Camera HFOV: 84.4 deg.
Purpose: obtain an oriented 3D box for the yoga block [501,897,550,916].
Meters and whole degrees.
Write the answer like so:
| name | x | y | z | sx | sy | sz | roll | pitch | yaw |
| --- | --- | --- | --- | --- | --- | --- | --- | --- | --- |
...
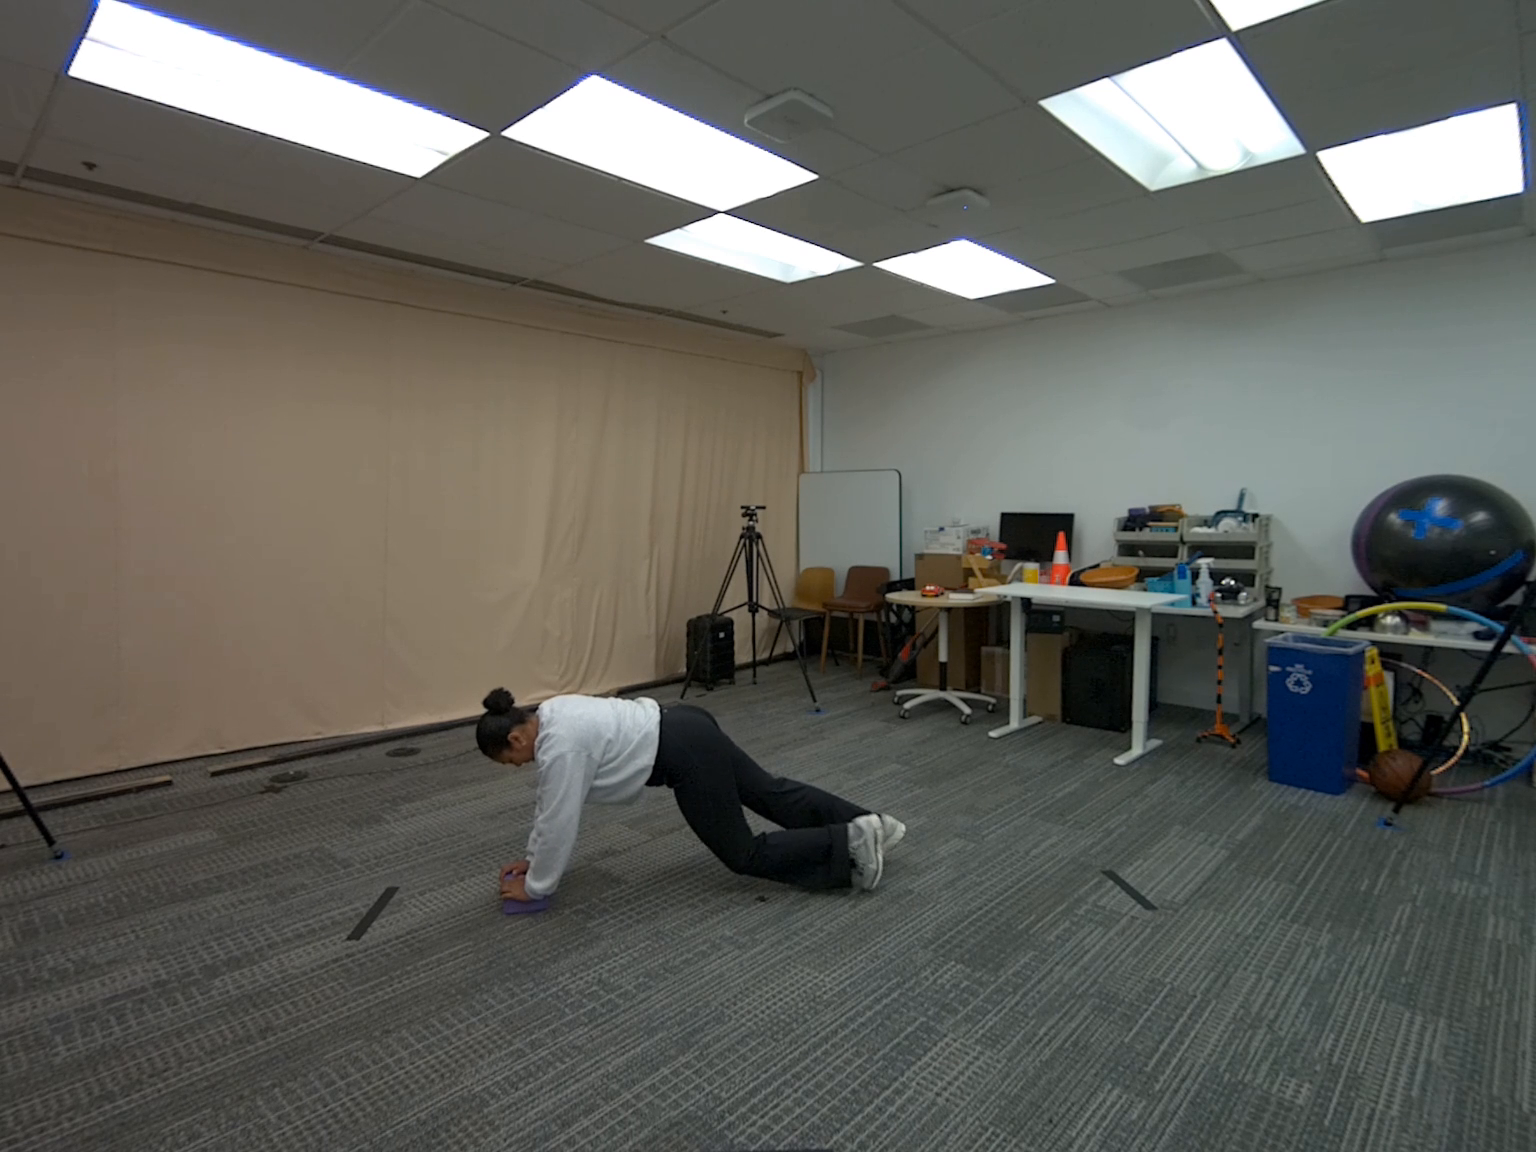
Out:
| name | x | y | z | sx | sy | sz | roll | pitch | yaw |
| --- | --- | --- | --- | --- | --- | --- | --- | --- | --- |
| yoga block | -0.869 | 1.124 | 3.000 | 0.146 | 0.076 | 0.234 | -1 | 5 | -17 |
